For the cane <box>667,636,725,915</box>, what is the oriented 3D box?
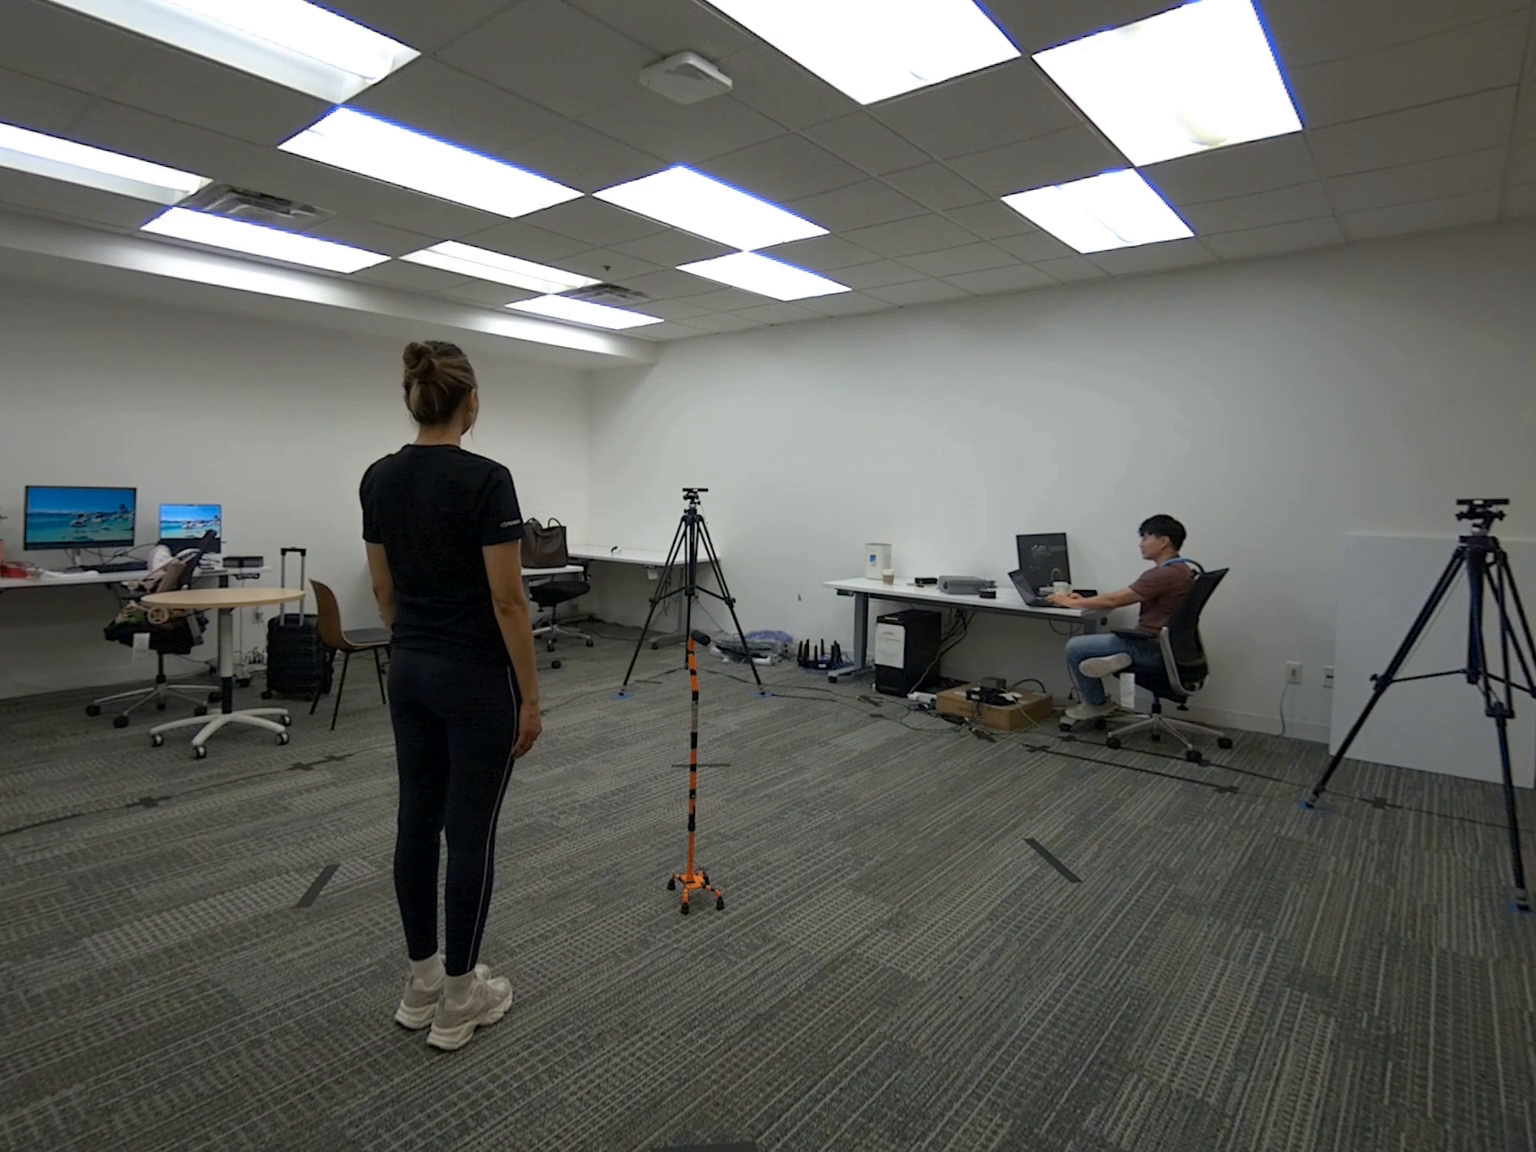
[{"bbox_3d":[-0.247,0.640,2.863,0.148,0.905,0.211,0,3,-21],"label":"cane"}]
